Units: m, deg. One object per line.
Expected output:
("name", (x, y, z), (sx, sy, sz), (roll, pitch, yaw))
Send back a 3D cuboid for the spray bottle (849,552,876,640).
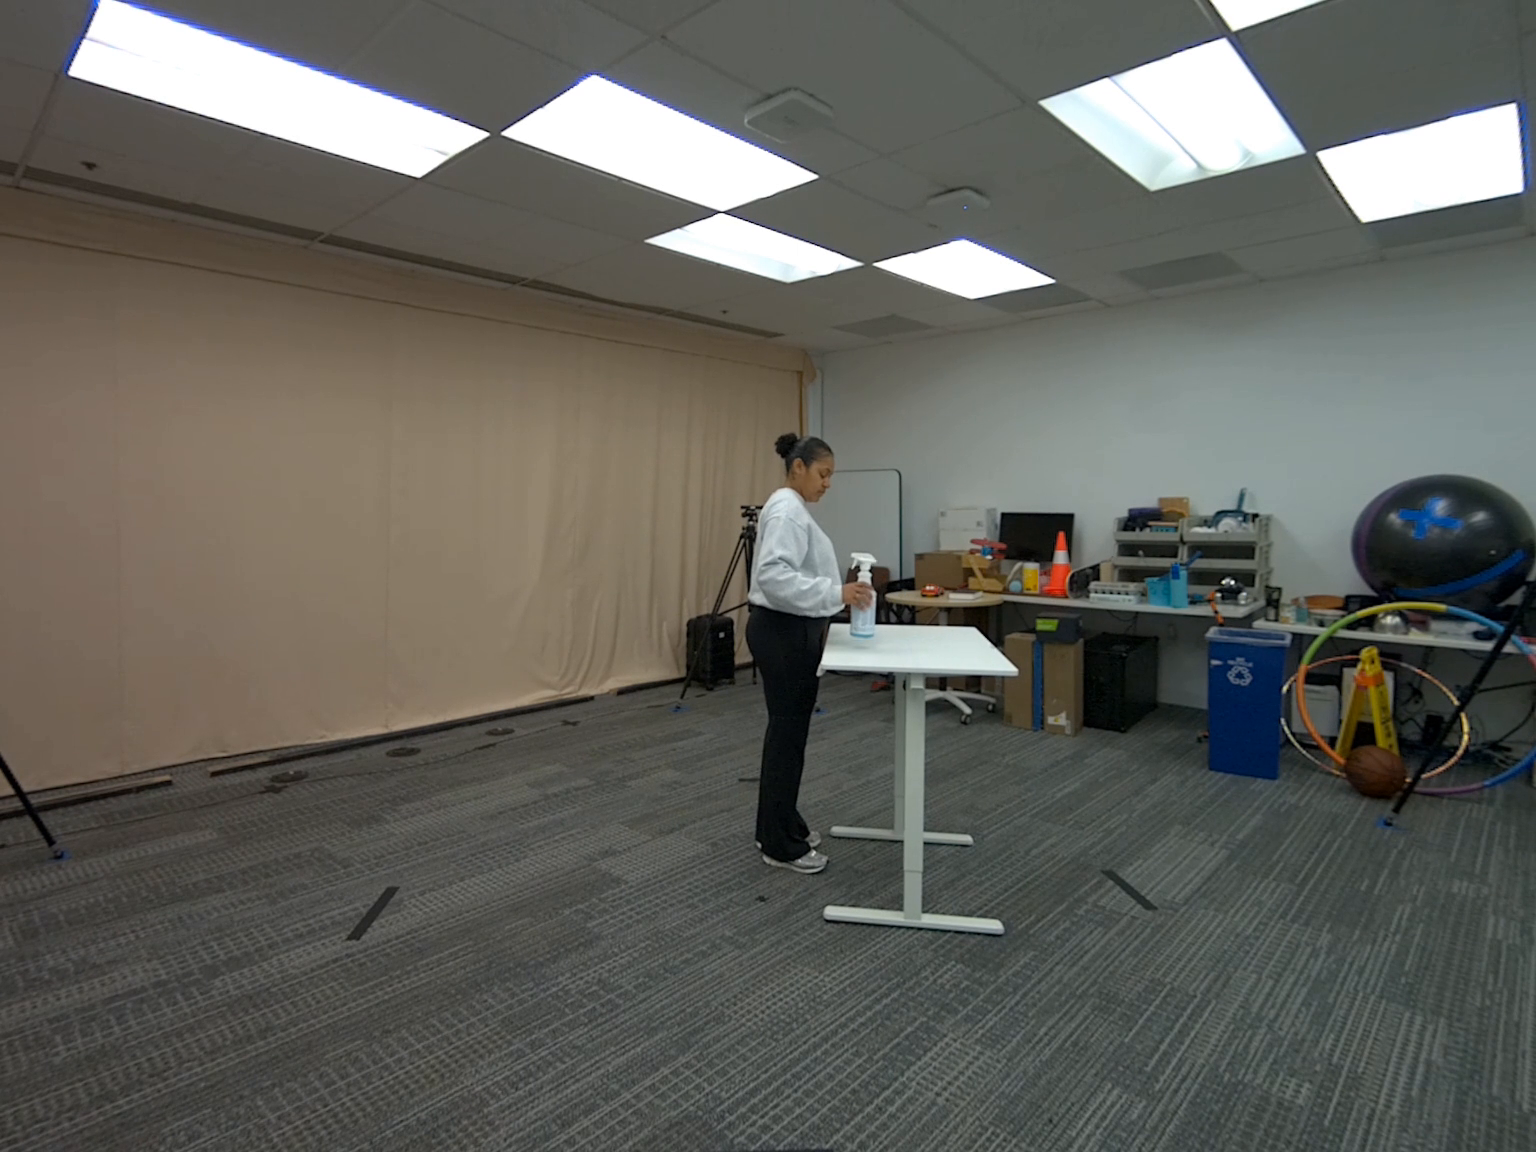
("spray bottle", (0.347, 0.062, 2.985), (0.091, 0.296, 0.086), (1, 5, 16))
